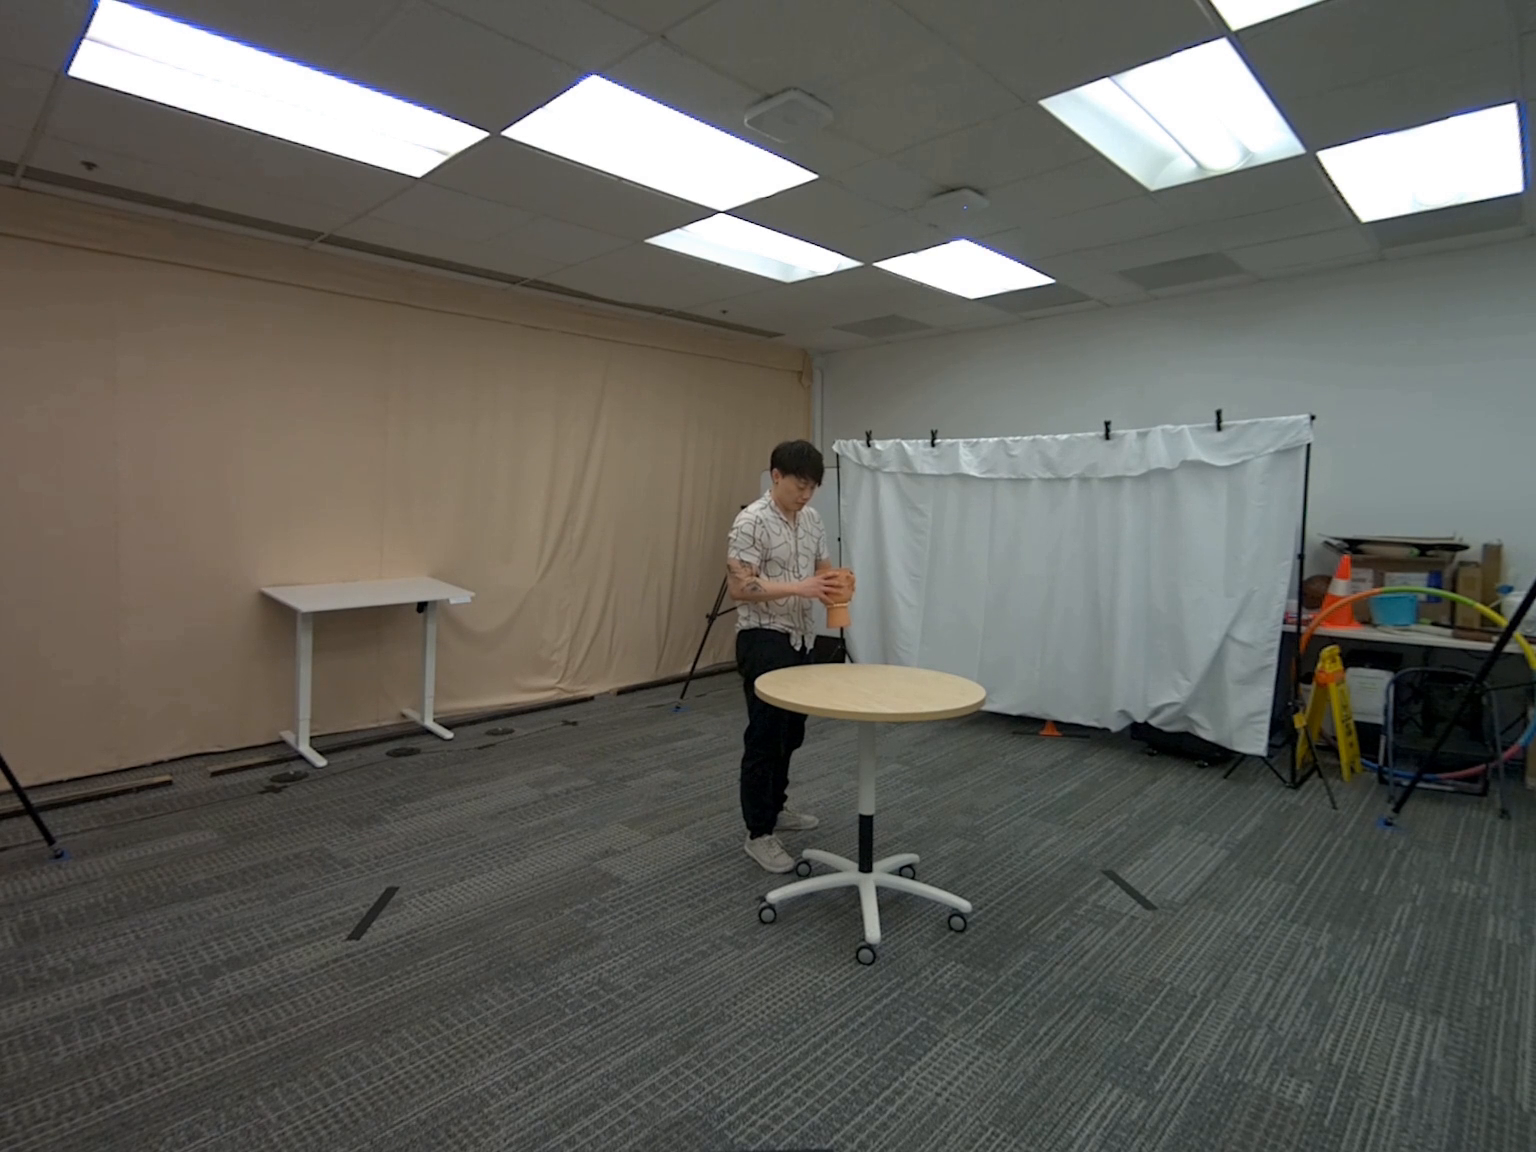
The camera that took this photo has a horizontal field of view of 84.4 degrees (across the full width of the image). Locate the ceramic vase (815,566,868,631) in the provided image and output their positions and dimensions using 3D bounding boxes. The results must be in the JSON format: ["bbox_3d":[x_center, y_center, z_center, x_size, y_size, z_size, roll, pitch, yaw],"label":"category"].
[{"bbox_3d":[0.264,0.084,3.212,0.133,0.220,0.161,-8,-2,-16],"label":"ceramic vase"}]
